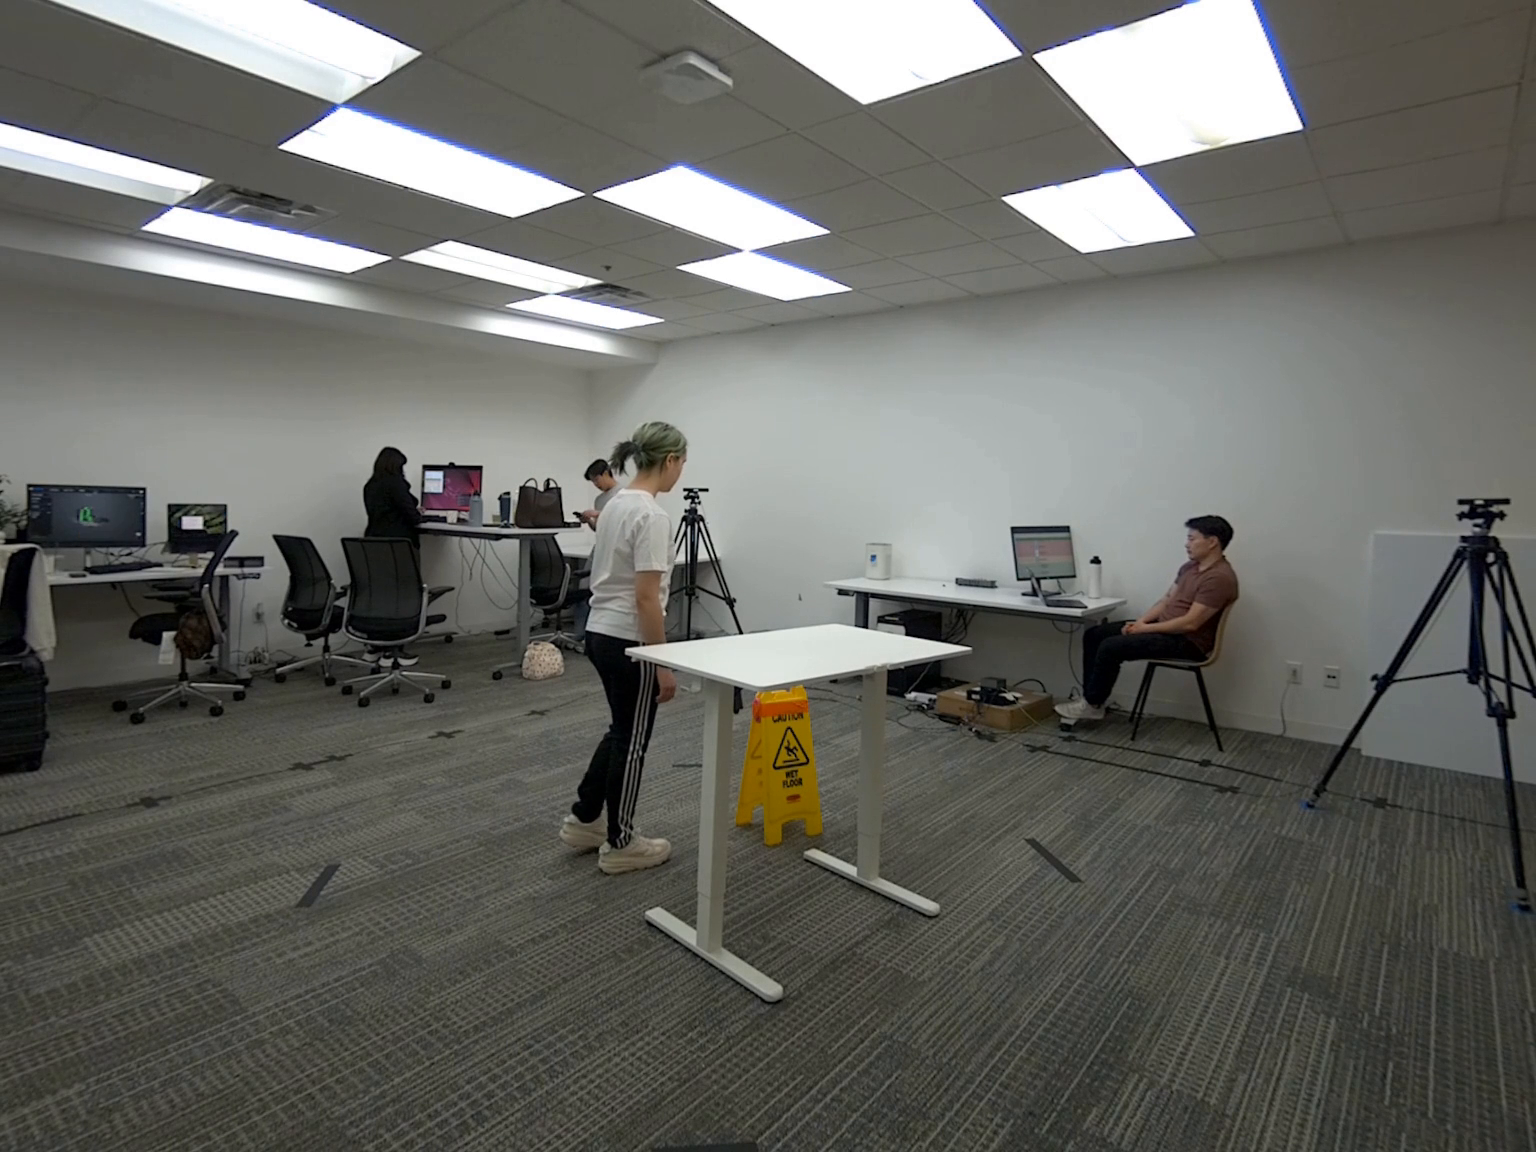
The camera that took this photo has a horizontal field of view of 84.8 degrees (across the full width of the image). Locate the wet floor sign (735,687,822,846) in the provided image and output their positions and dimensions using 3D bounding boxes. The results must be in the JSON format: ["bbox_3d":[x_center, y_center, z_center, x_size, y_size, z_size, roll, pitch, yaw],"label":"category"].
[{"bbox_3d":[0.045,0.715,3.481,0.274,0.645,0.298,0,2,-31],"label":"wet floor sign"}]
